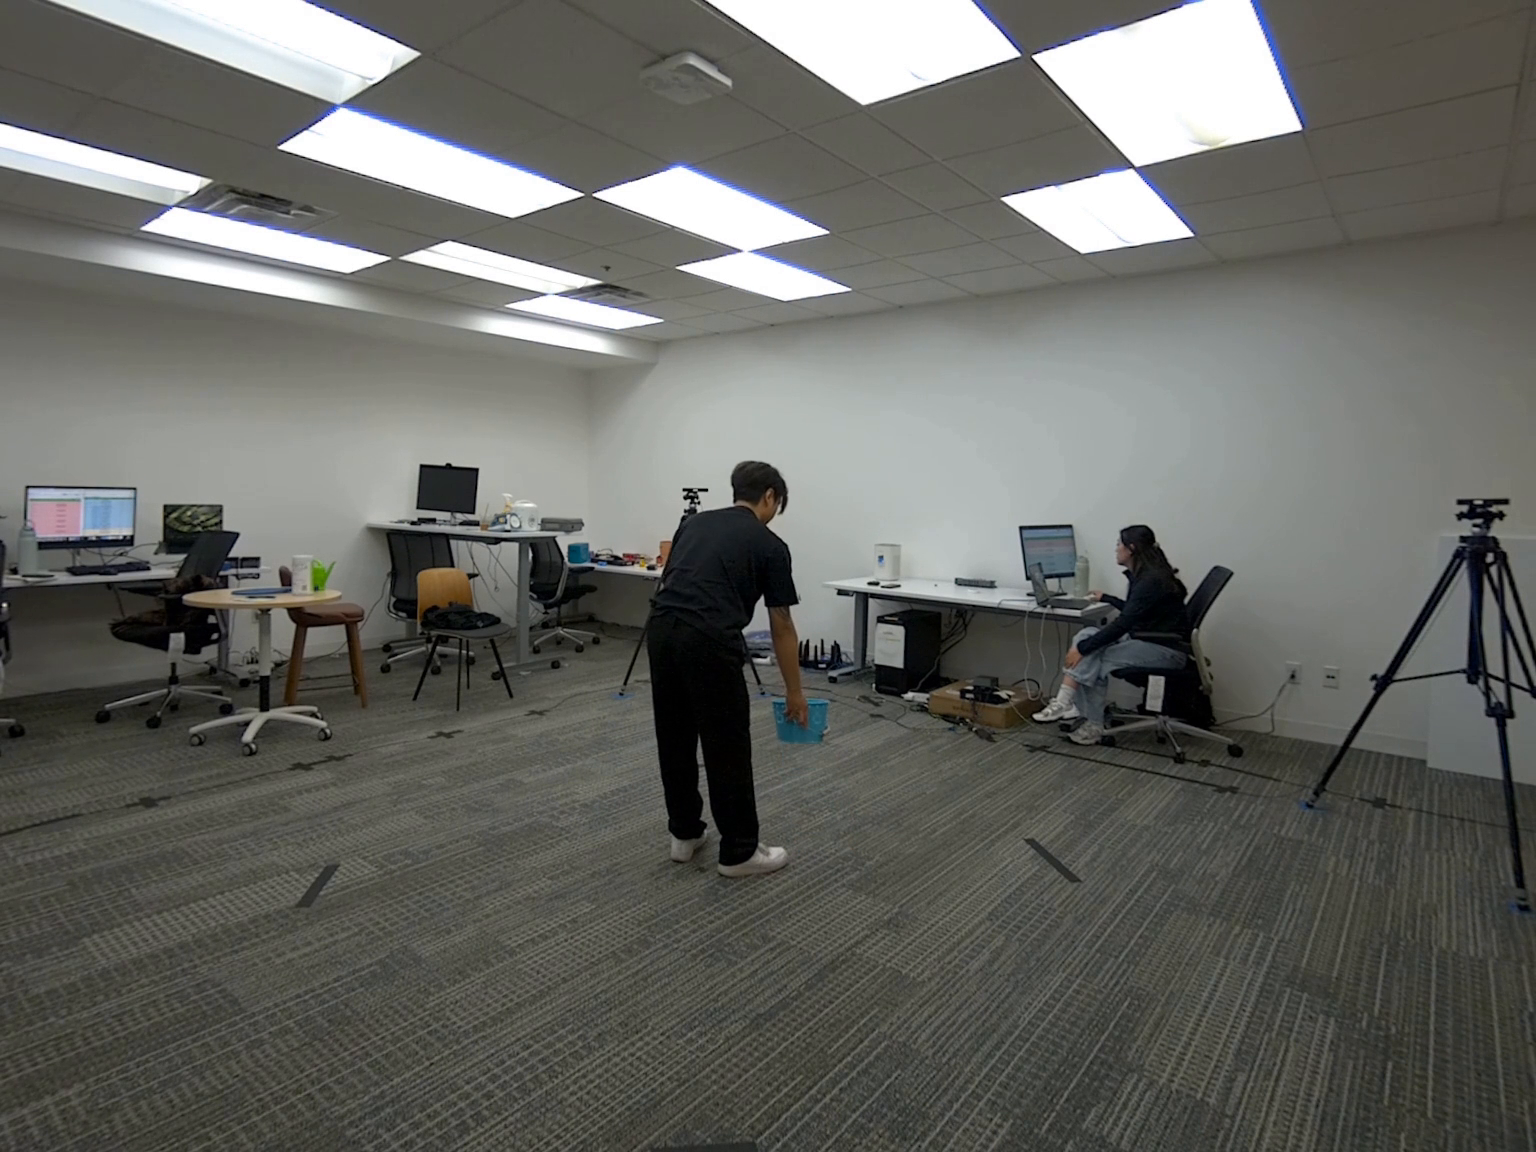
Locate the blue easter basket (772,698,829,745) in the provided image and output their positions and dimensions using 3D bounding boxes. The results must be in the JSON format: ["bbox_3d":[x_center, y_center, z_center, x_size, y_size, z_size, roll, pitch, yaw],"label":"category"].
[{"bbox_3d":[0.119,0.568,3.328,0.243,0.156,0.243,0,-3,-2],"label":"blue easter basket"}]
